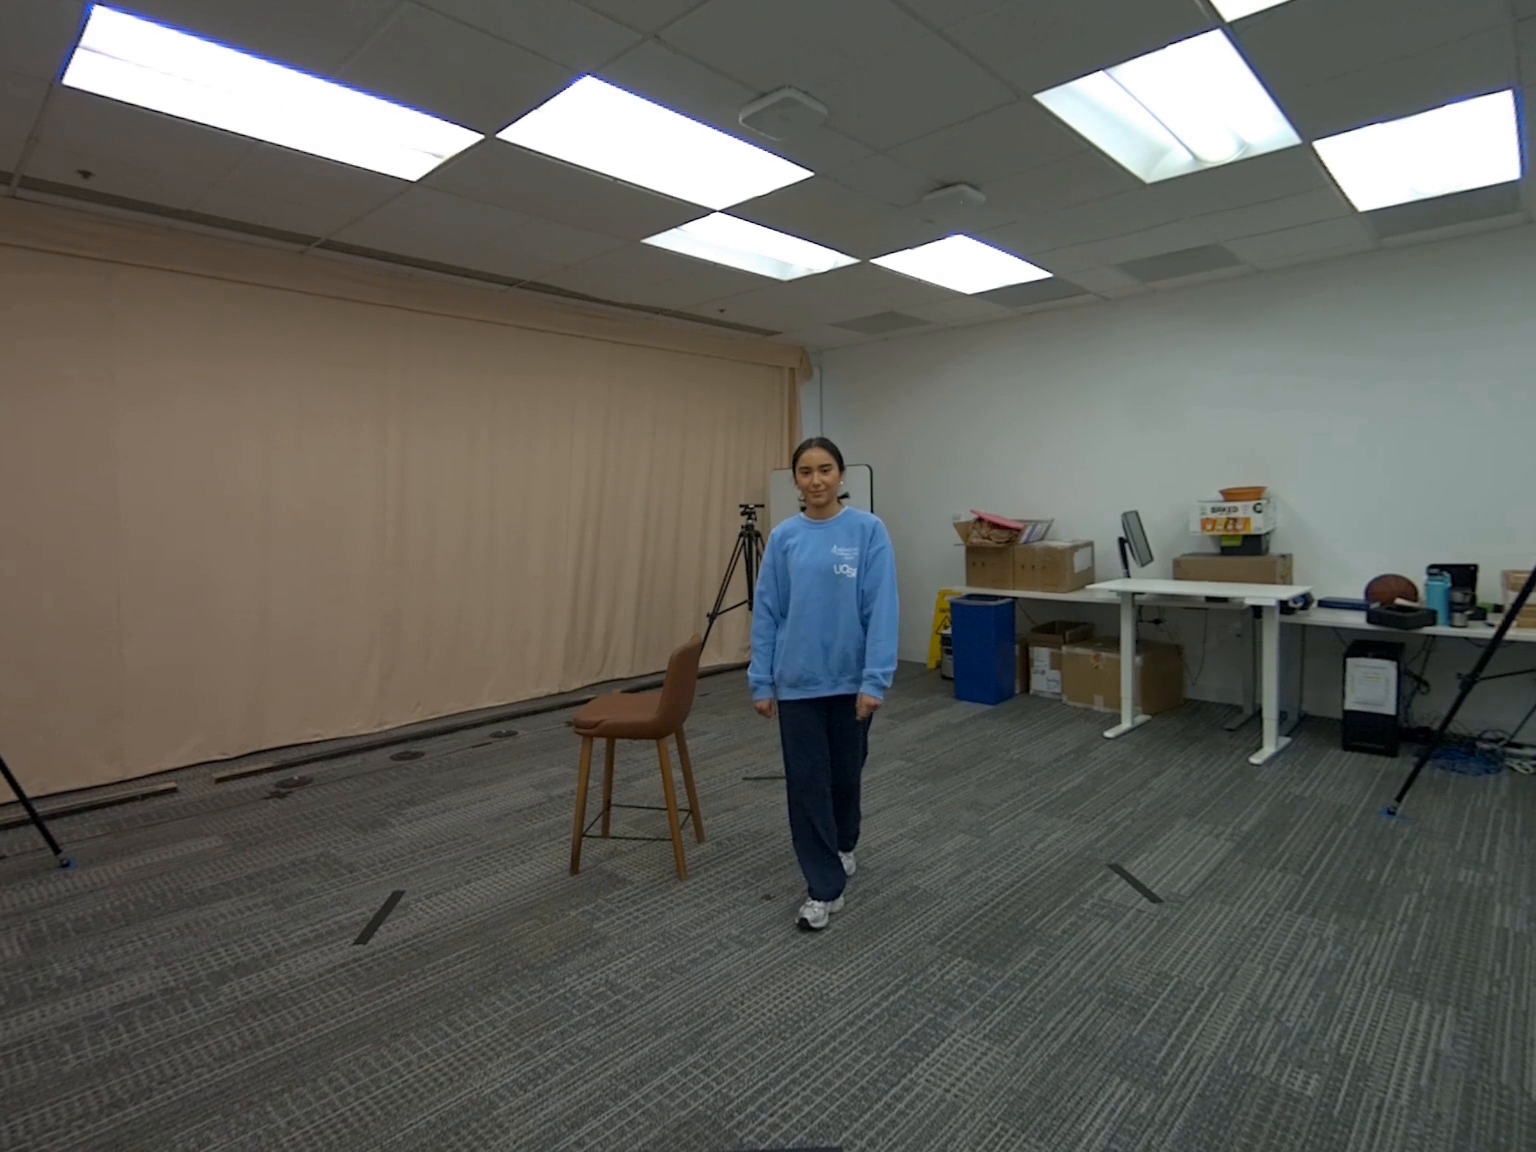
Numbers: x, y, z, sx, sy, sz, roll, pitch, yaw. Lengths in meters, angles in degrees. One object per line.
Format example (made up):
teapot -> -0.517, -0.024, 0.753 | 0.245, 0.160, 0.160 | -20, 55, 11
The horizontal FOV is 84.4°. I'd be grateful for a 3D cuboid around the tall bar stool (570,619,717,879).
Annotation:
tall bar stool -> -0.512, 0.686, 3.339 | 0.473, 0.888, 0.452 | 1, 3, 9
